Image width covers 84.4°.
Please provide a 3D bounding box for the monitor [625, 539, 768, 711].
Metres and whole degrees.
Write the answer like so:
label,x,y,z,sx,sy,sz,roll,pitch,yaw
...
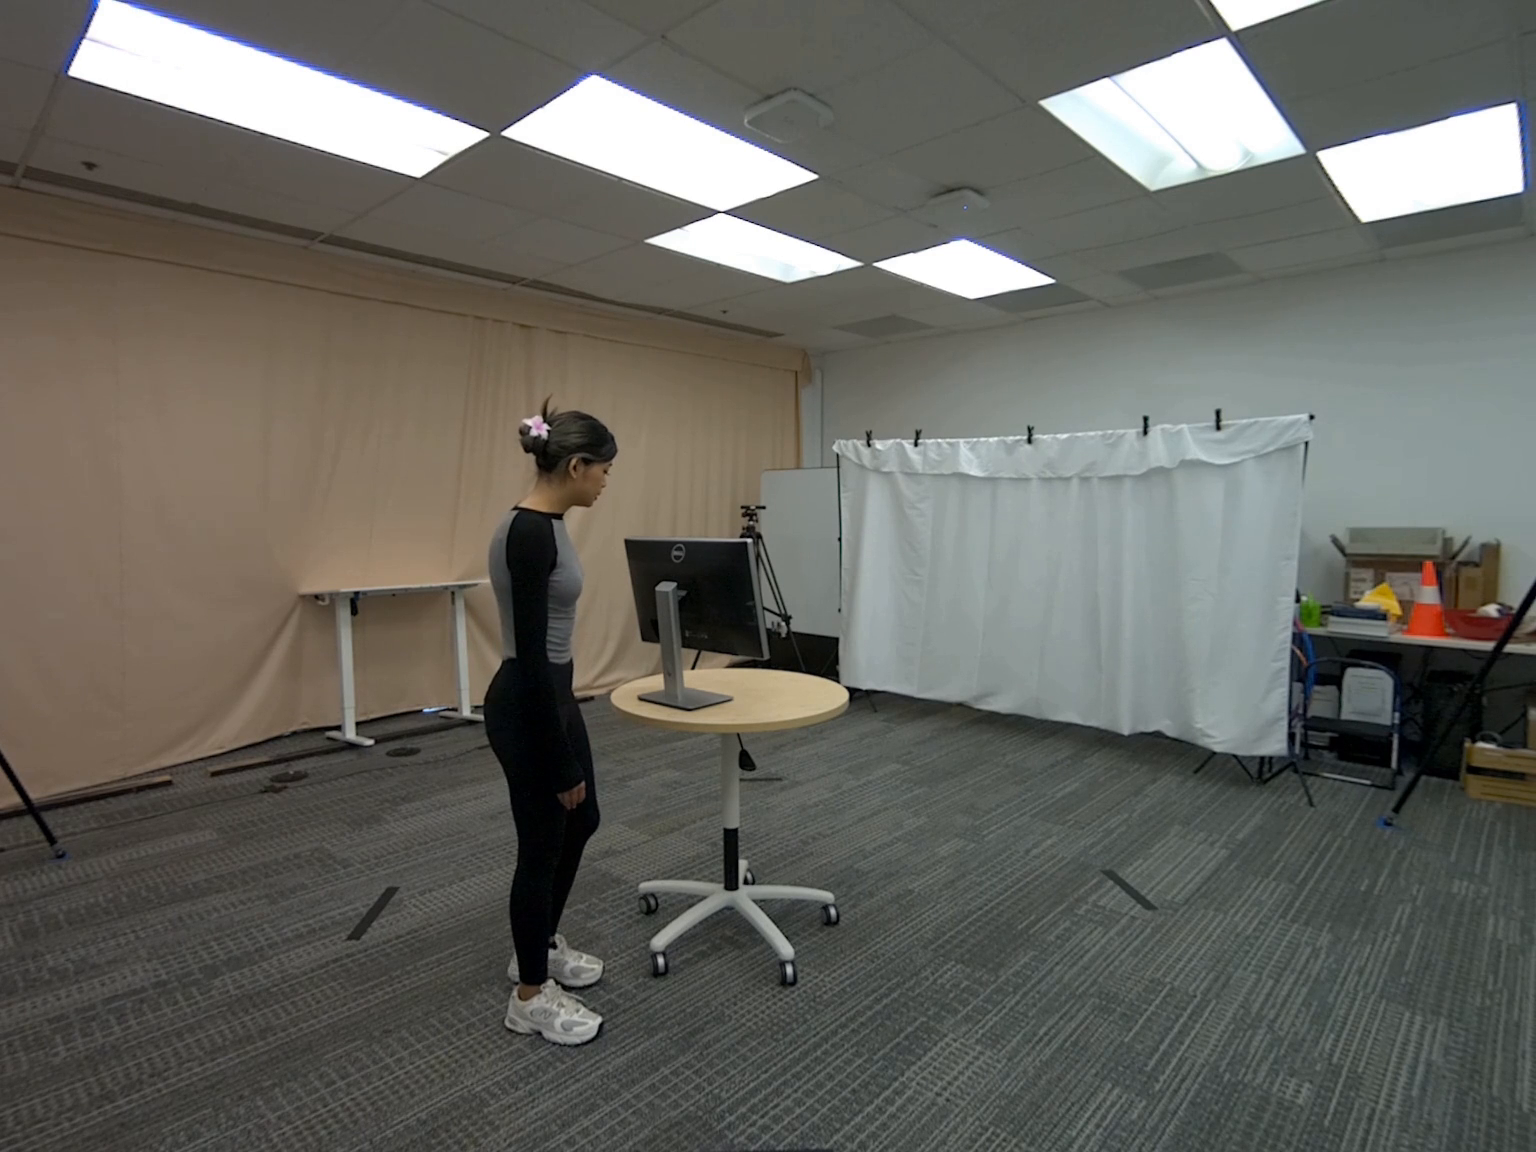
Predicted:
label,x,y,z,sx,sy,sz,roll,pitch,yaw
monitor,-0.259,0.143,2.617,0.557,0.522,0.181,3,1,40
